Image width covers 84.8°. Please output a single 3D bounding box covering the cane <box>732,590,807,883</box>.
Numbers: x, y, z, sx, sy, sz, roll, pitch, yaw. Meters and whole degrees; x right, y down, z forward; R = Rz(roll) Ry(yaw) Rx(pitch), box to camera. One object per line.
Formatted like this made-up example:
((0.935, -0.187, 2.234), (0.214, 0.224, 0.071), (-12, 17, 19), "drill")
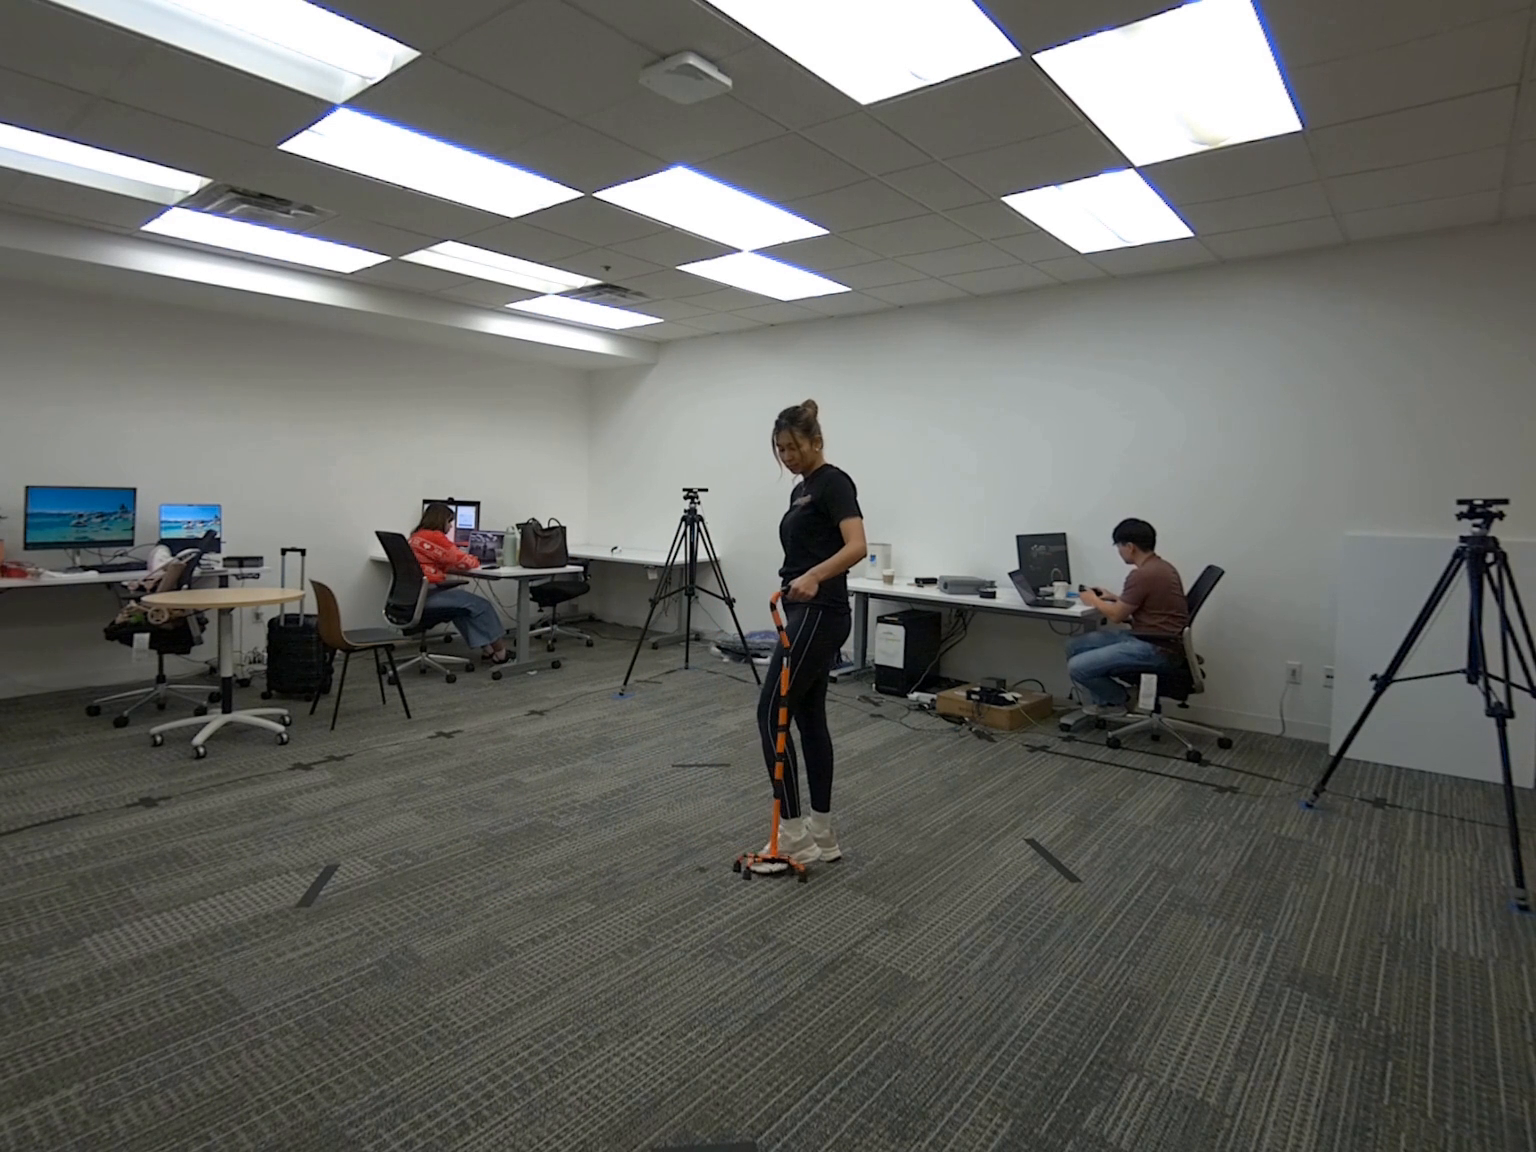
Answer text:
((0.028, 0.492, 2.730), (0.204, 0.917, 0.152), (6, -11, -10), "cane")
